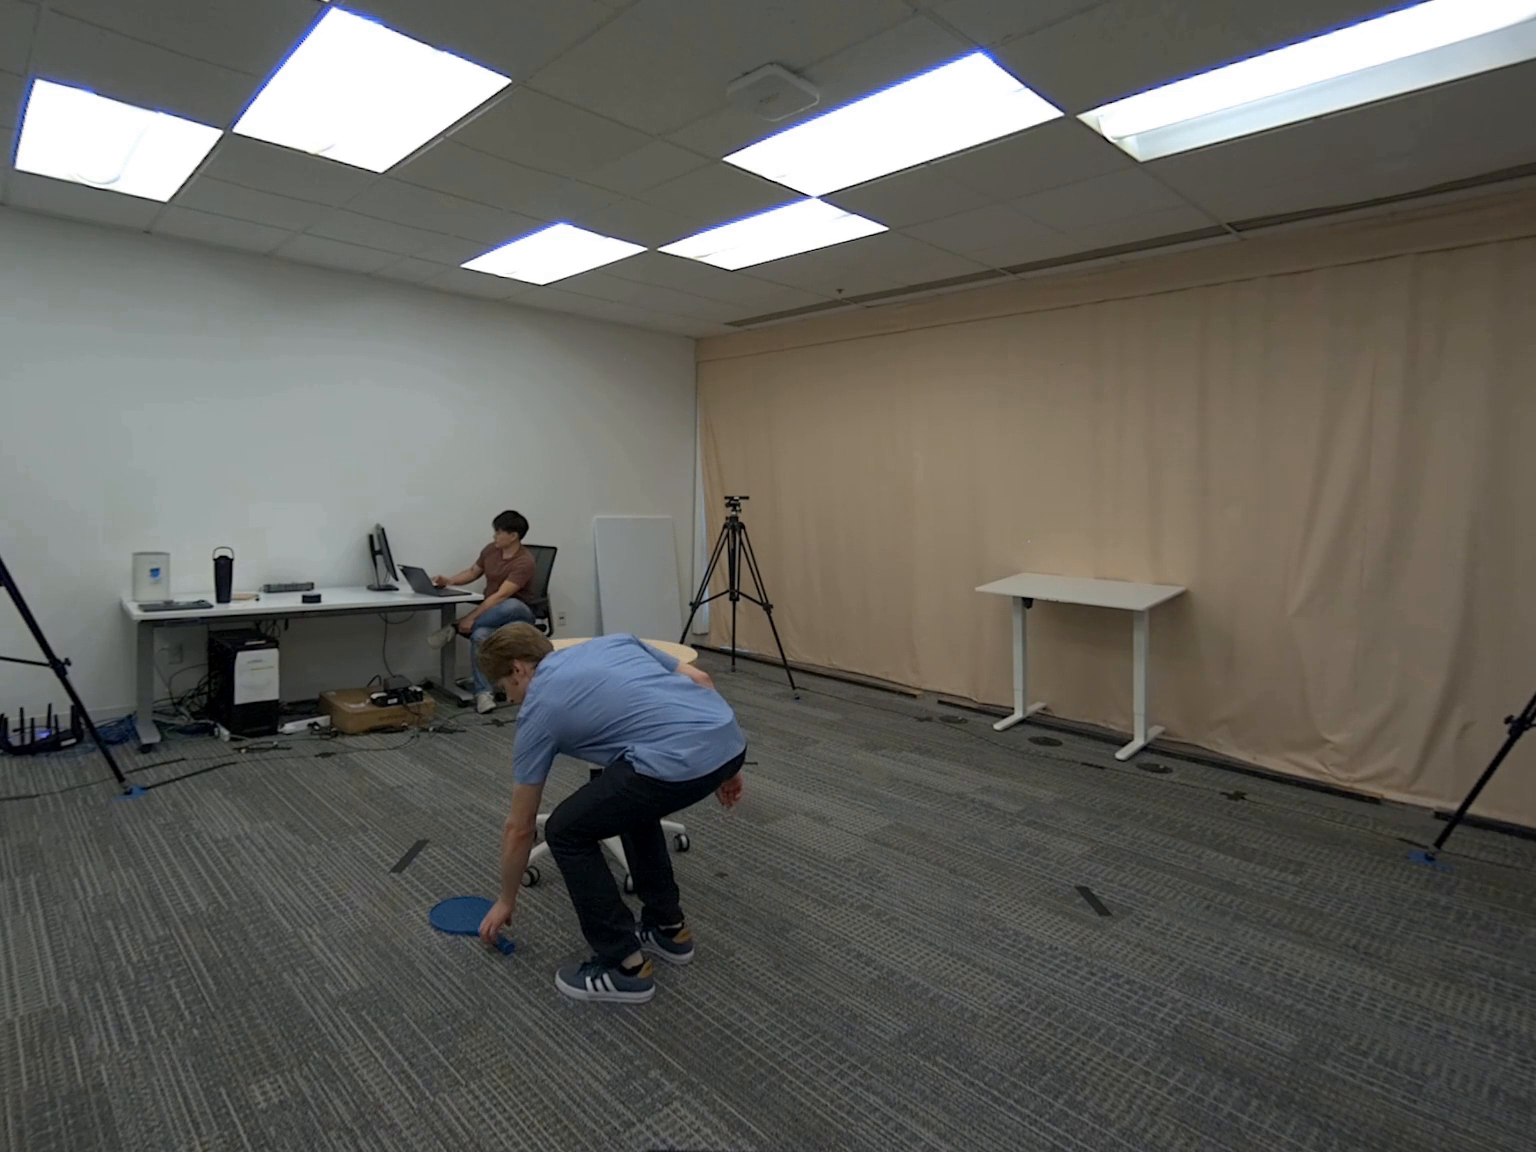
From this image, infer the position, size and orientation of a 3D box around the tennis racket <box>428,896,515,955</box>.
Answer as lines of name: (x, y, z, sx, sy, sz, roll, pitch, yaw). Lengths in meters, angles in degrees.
tennis racket: (-0.941, 1.113, 2.689, 0.209, 0.032, 0.444, -4, 6, -42)
